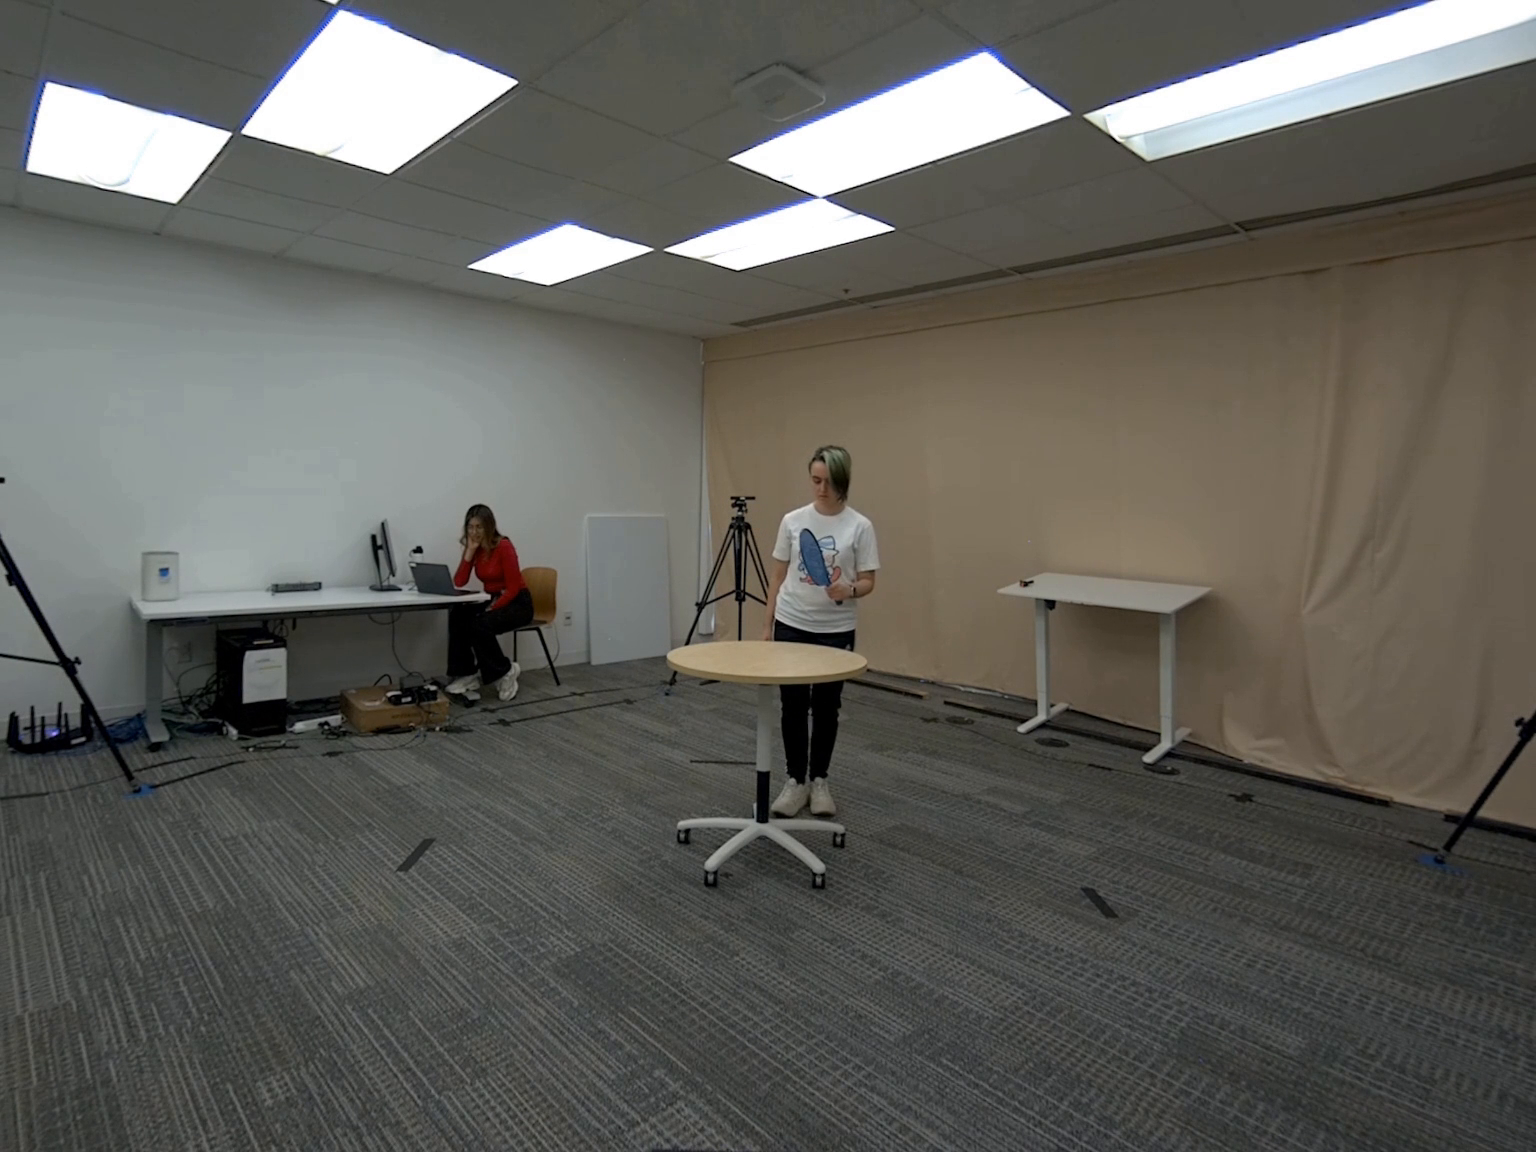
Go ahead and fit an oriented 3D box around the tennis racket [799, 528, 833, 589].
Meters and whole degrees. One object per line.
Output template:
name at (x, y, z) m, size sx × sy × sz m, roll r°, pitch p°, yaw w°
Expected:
tennis racket at (0.206, -0.034, 3.459) m, size 0.032 × 0.217 × 0.419 m, roll -10°, pitch -43°, yaw 24°
